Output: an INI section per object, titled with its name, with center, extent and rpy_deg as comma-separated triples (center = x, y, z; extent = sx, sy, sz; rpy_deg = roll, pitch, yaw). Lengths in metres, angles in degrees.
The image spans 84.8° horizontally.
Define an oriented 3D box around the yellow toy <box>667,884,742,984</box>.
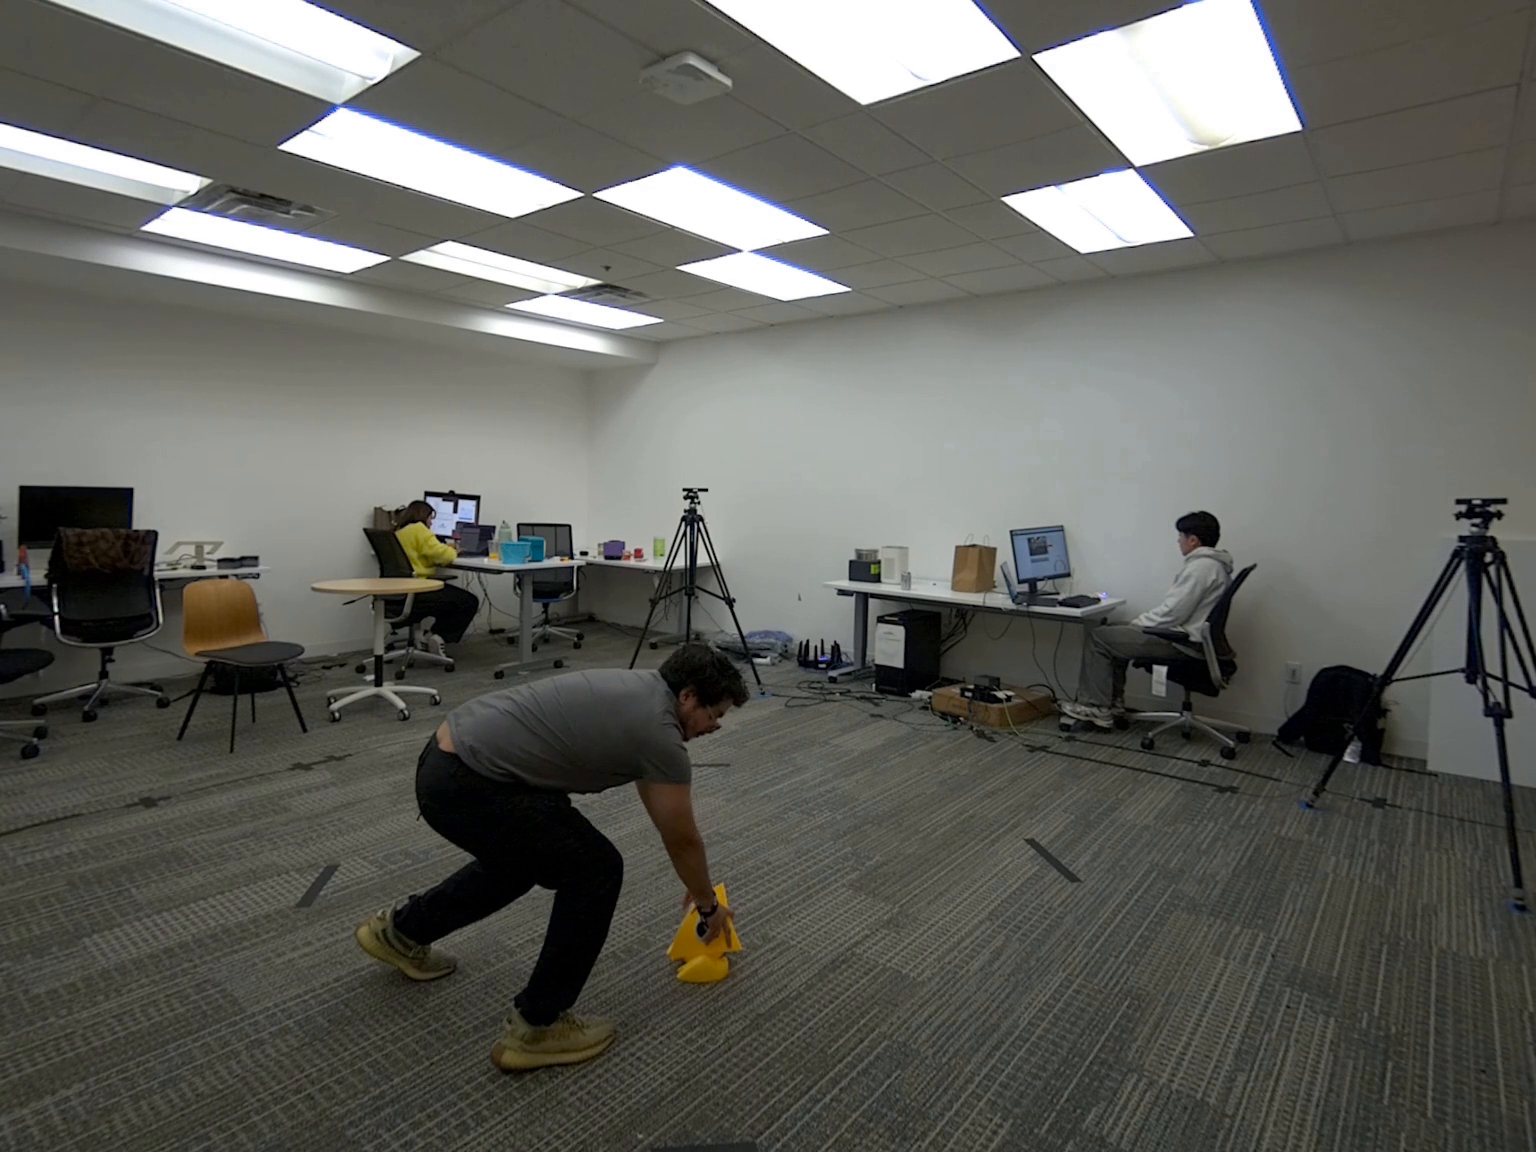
[yellow toy]
center = -0.201, 1.018, 2.488
extent = 0.189, 0.230, 0.209
rpy_deg = 0, 5, -19
